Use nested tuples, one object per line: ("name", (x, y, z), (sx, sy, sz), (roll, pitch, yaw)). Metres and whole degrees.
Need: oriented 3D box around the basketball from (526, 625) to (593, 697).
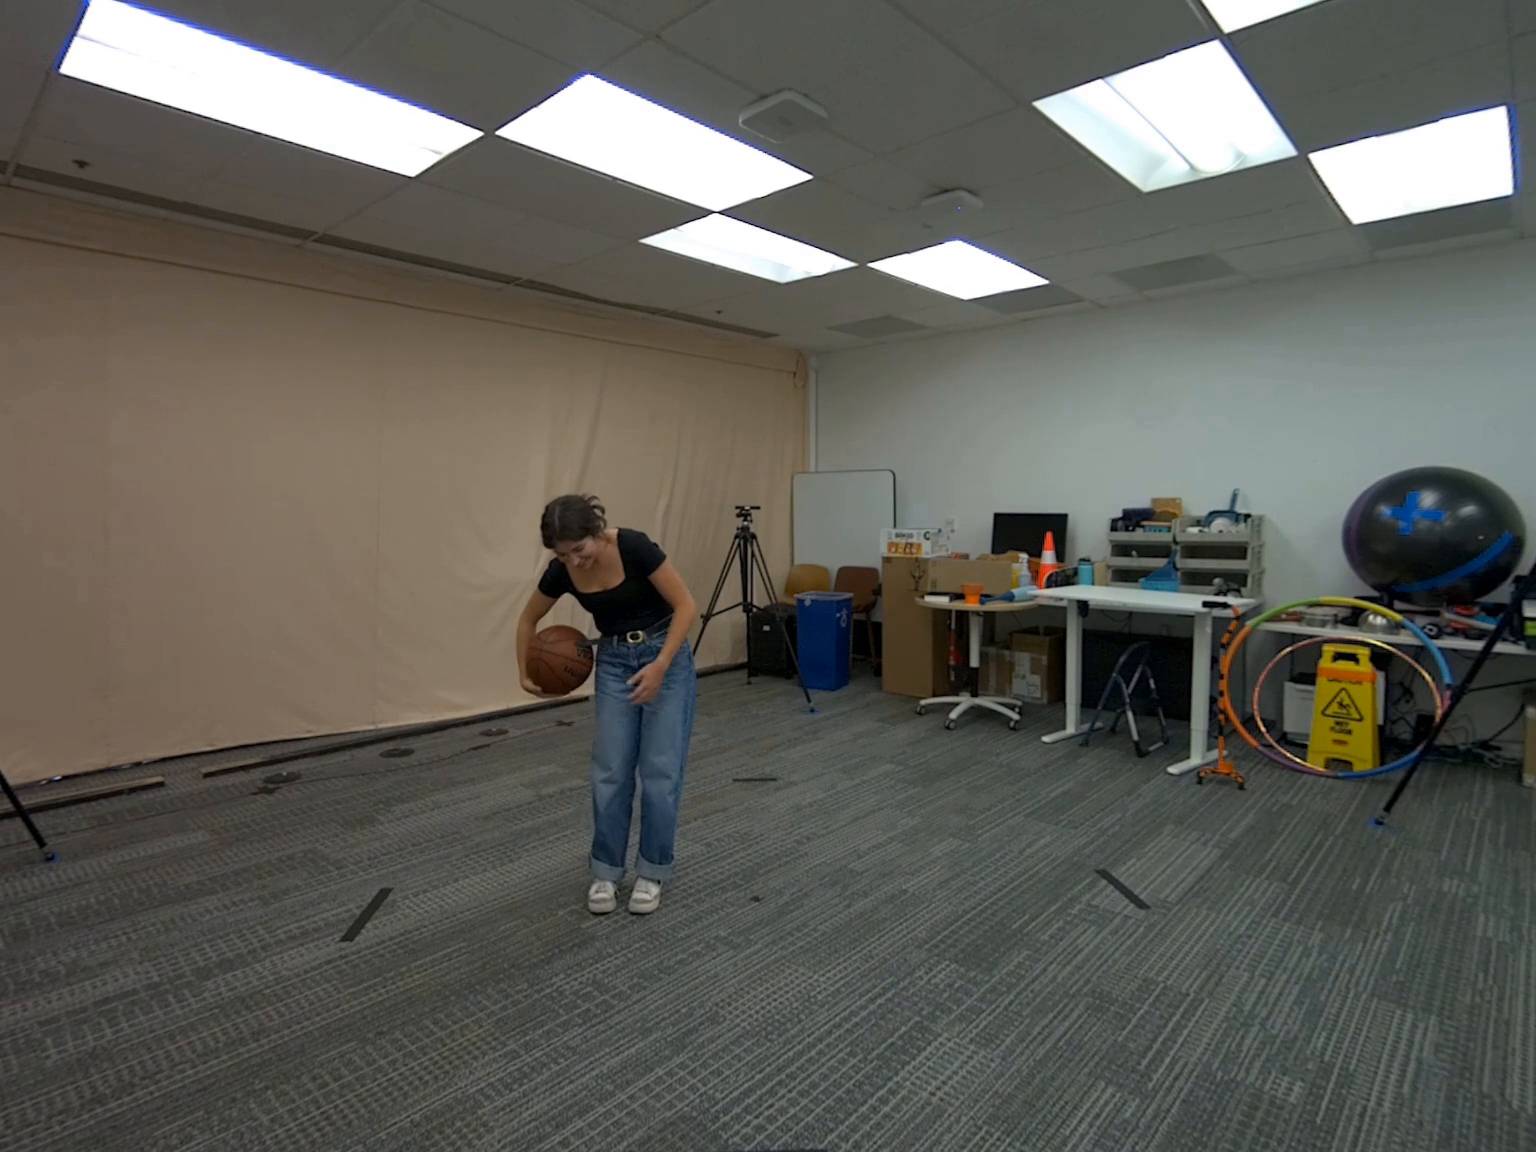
("basketball", (-0.720, 0.300, 2.950), (0.236, 0.235, 0.237), (0, 4, -2))
